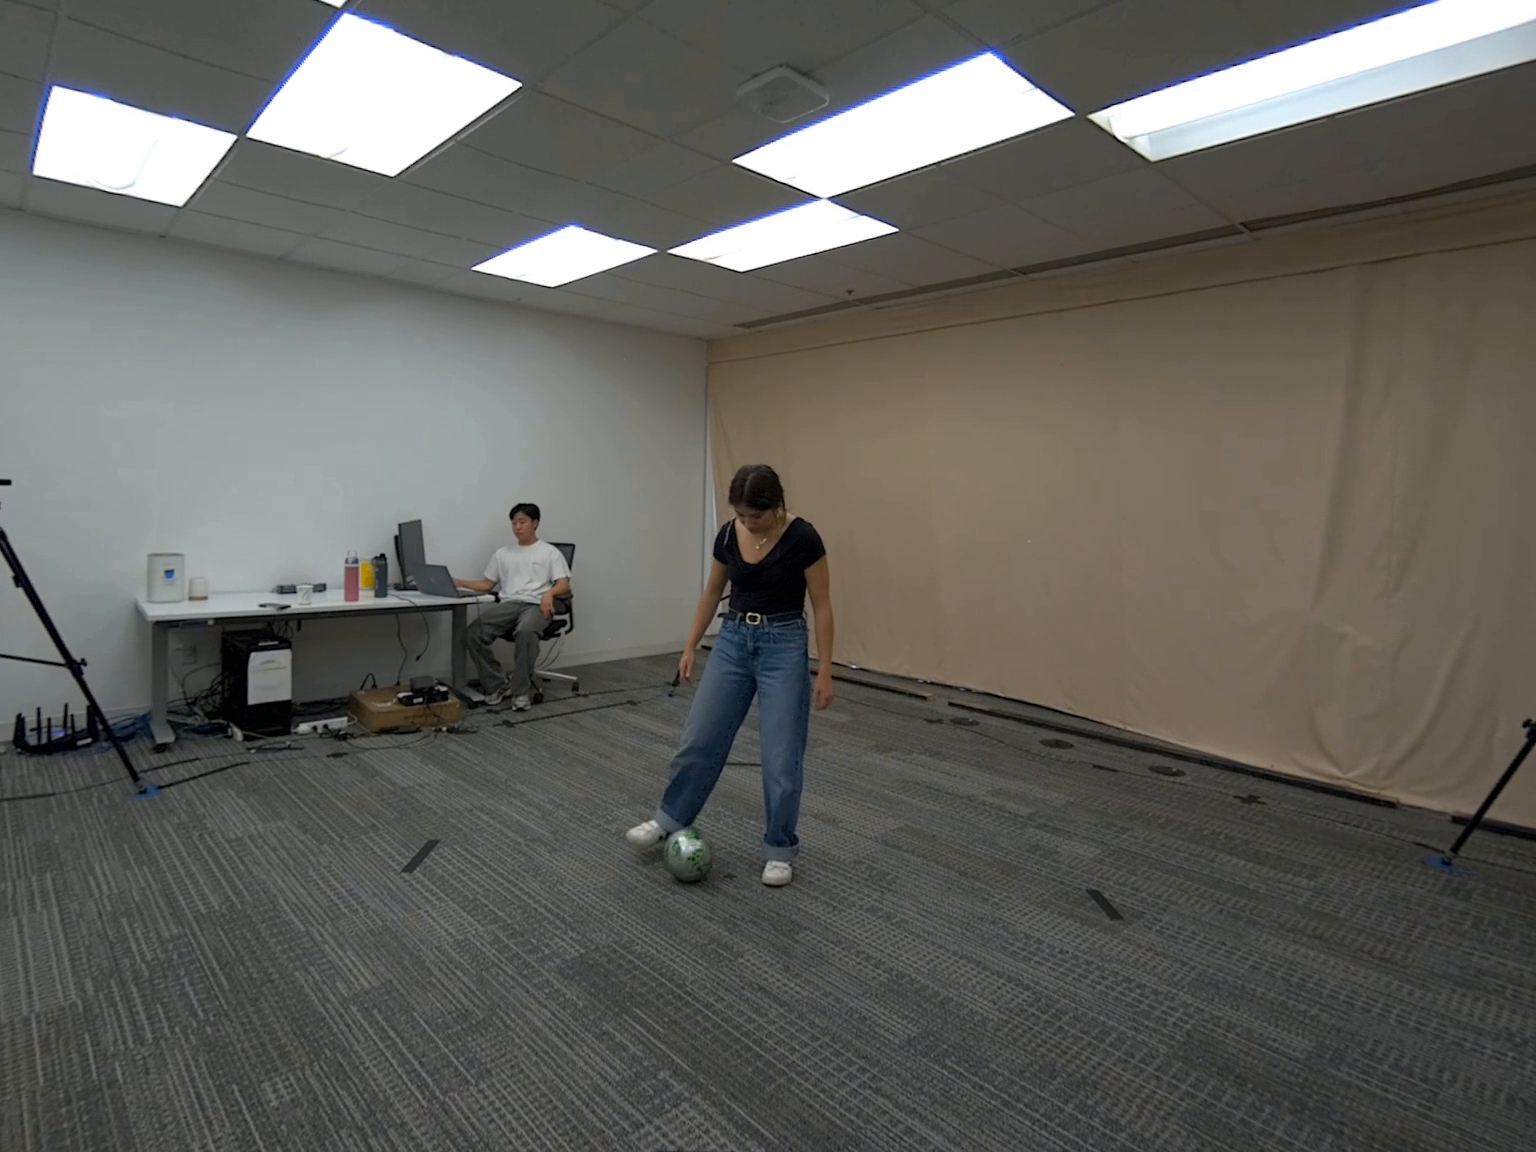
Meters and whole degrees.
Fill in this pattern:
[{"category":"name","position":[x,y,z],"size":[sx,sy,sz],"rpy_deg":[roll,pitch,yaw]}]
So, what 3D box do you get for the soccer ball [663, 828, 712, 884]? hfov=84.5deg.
[{"category":"soccer ball","position":[-0.289,1.013,3.063],"size":[0.187,0.187,0.188],"rpy_deg":[1,4,-1]}]
